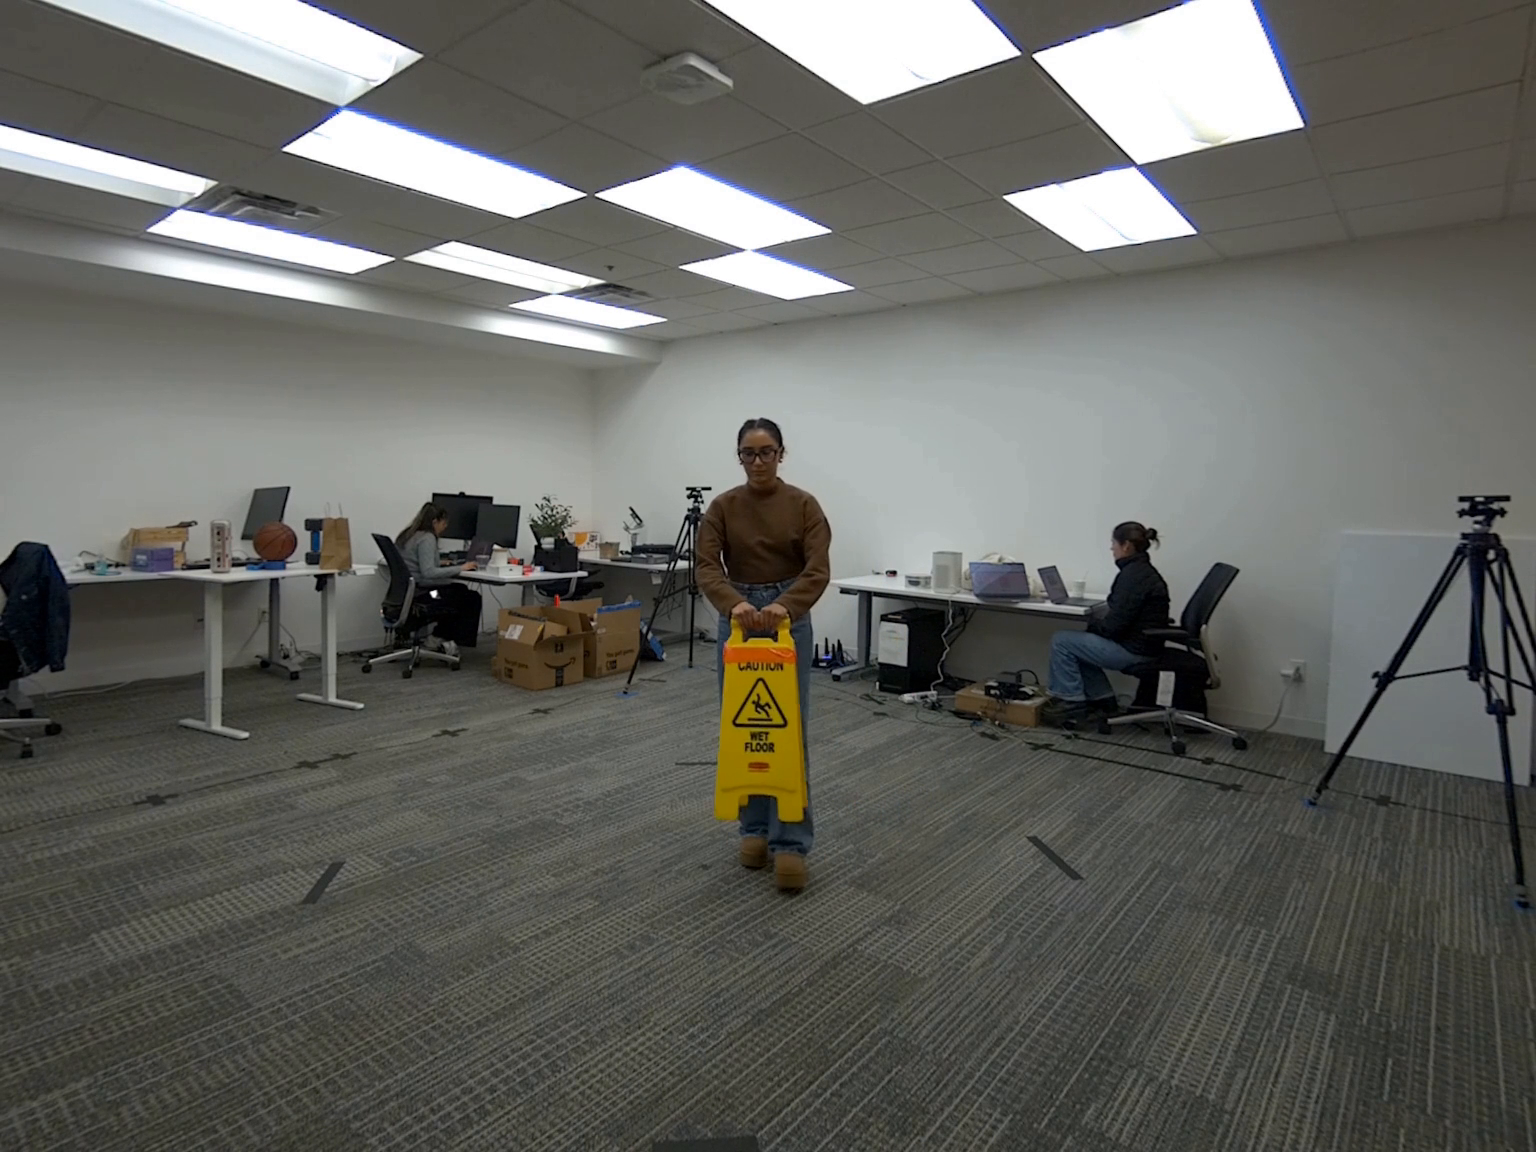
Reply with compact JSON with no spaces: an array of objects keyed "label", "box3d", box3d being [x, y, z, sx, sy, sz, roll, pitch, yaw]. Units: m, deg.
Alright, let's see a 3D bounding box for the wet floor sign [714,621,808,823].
[{"label":"wet floor sign","box3d":[-0.028,0.442,2.814,0.284,0.651,0.285,-3,-7,6]}]
